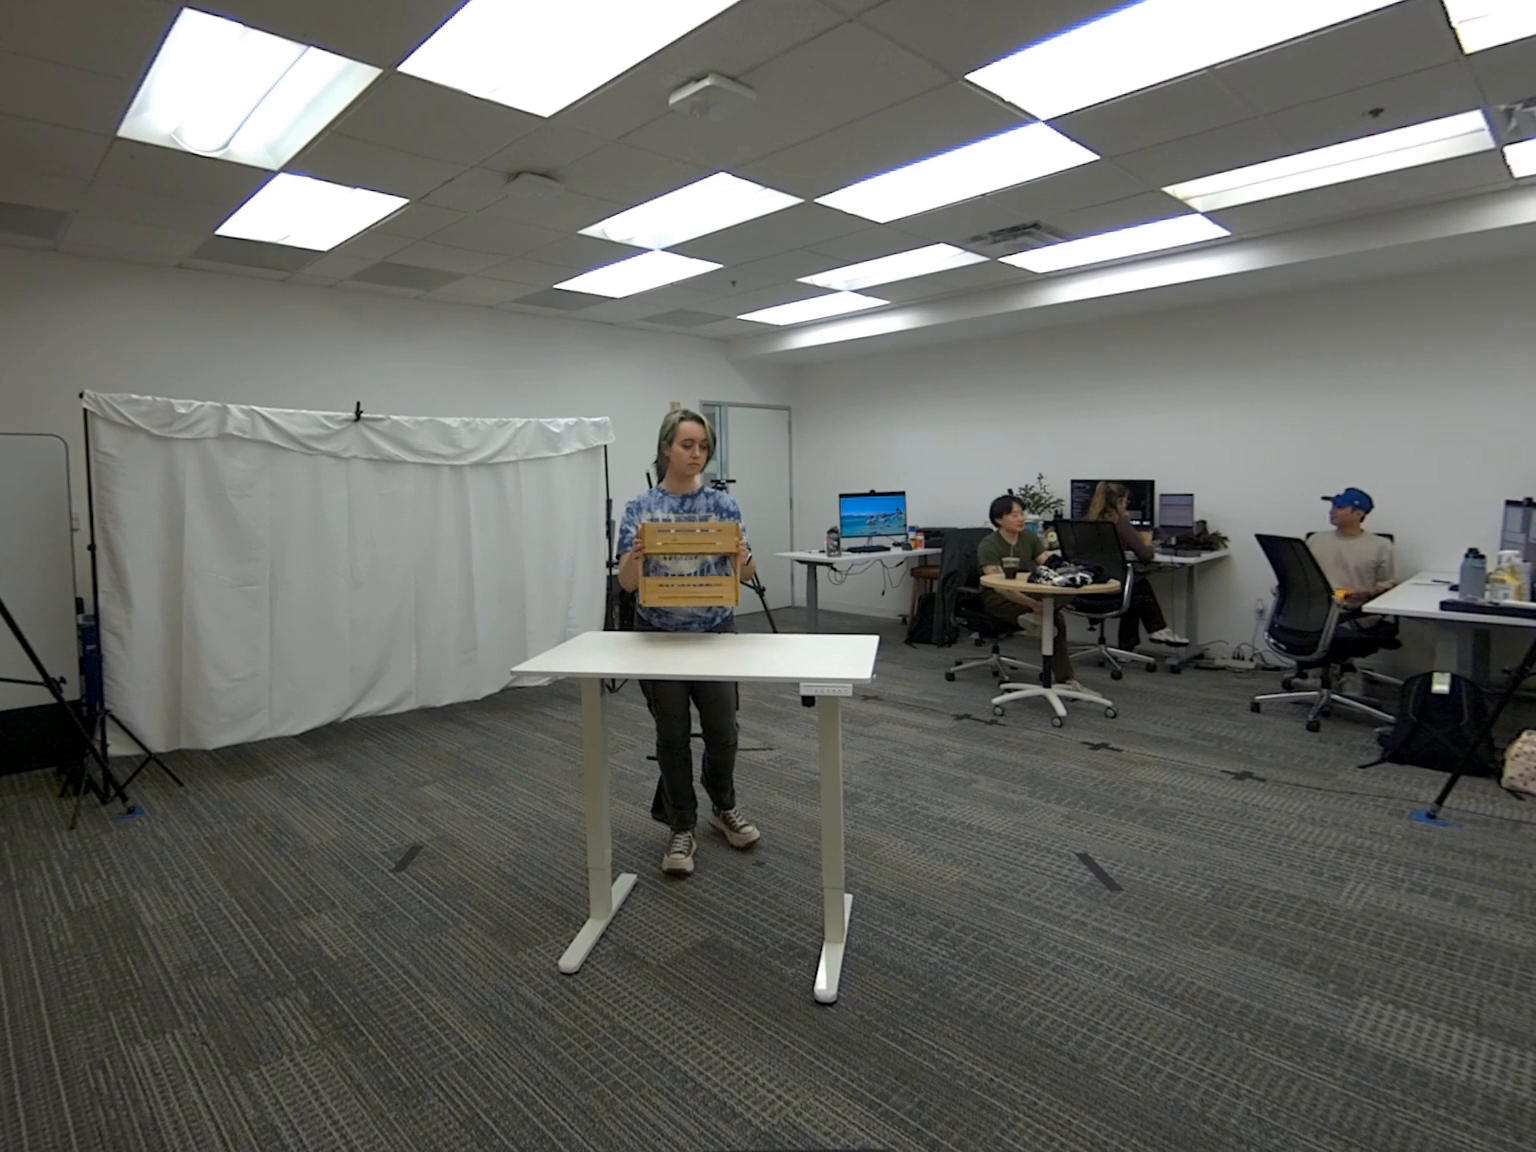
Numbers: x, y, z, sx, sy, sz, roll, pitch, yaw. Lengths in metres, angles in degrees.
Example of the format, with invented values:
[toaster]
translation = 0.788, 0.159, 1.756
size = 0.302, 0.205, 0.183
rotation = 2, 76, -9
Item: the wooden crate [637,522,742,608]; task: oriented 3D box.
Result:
[wooden crate]
translation = -0.256, -0.032, 2.789
size = 0.323, 0.274, 0.302
rotation = 0, -4, -4
